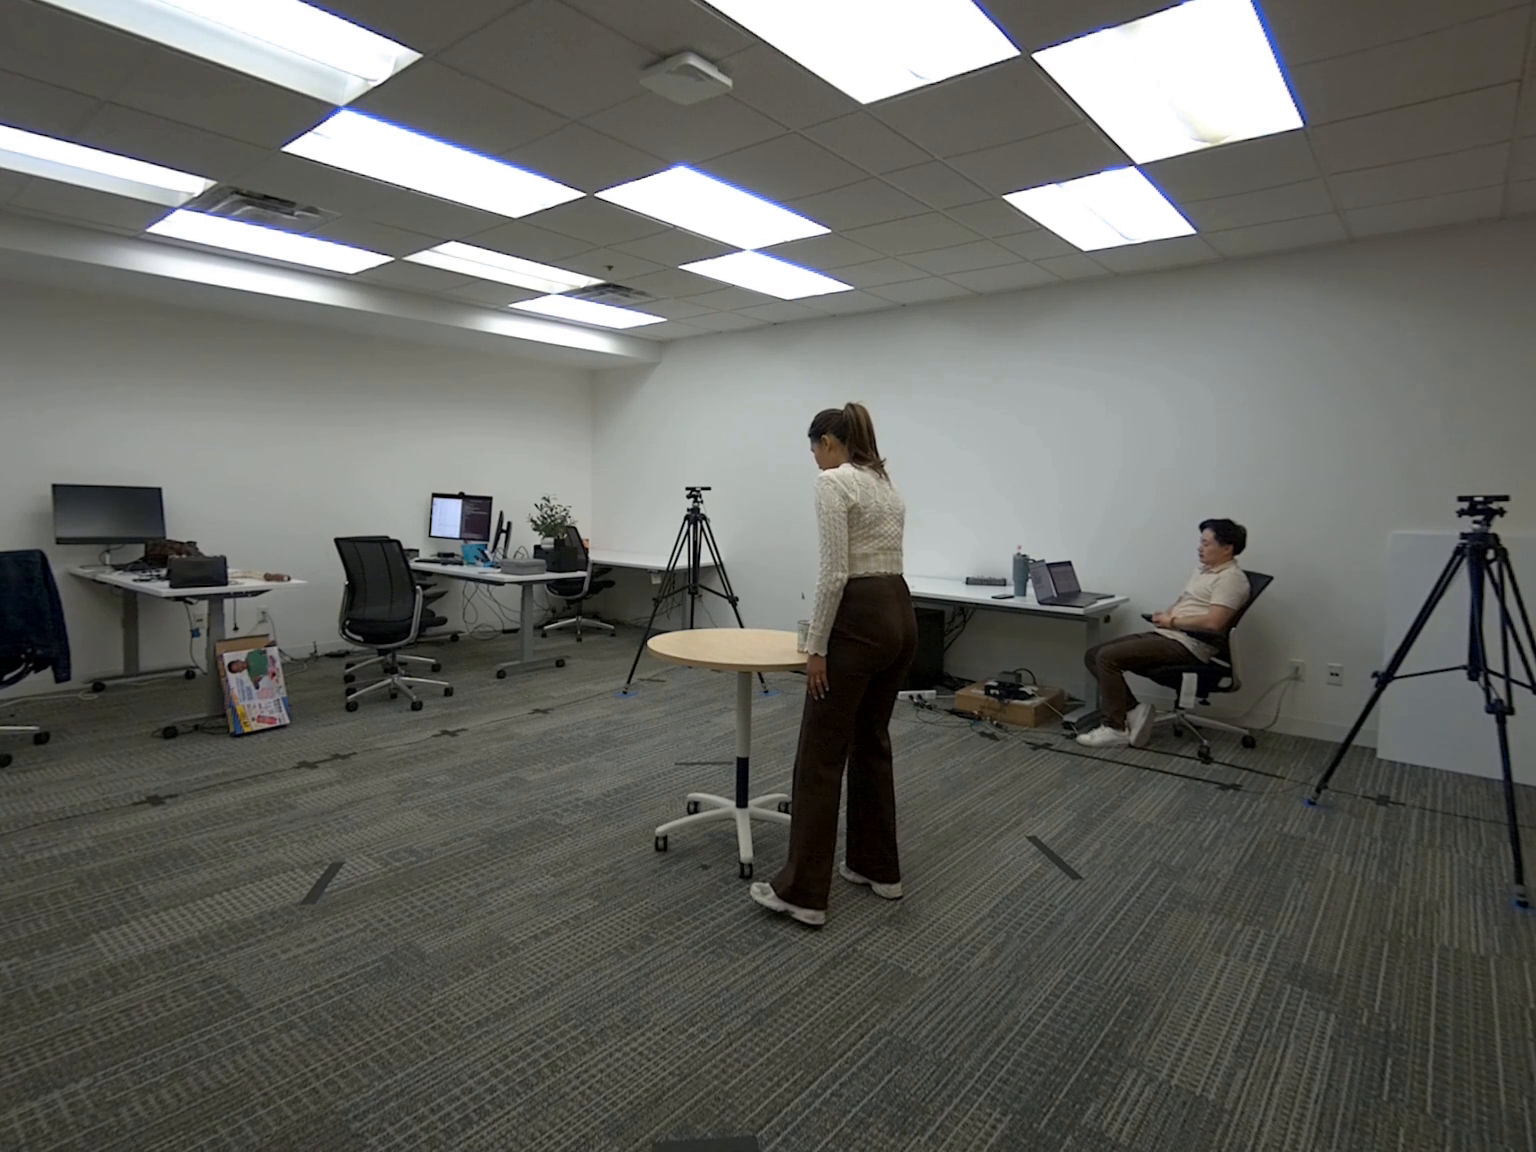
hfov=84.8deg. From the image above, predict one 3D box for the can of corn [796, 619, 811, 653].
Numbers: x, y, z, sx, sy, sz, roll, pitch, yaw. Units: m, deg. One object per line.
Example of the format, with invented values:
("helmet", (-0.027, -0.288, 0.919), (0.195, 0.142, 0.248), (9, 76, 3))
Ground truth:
("can of corn", (0.141, 0.227, 3.190), (0.074, 0.110, 0.075), (3, 7, -2))
